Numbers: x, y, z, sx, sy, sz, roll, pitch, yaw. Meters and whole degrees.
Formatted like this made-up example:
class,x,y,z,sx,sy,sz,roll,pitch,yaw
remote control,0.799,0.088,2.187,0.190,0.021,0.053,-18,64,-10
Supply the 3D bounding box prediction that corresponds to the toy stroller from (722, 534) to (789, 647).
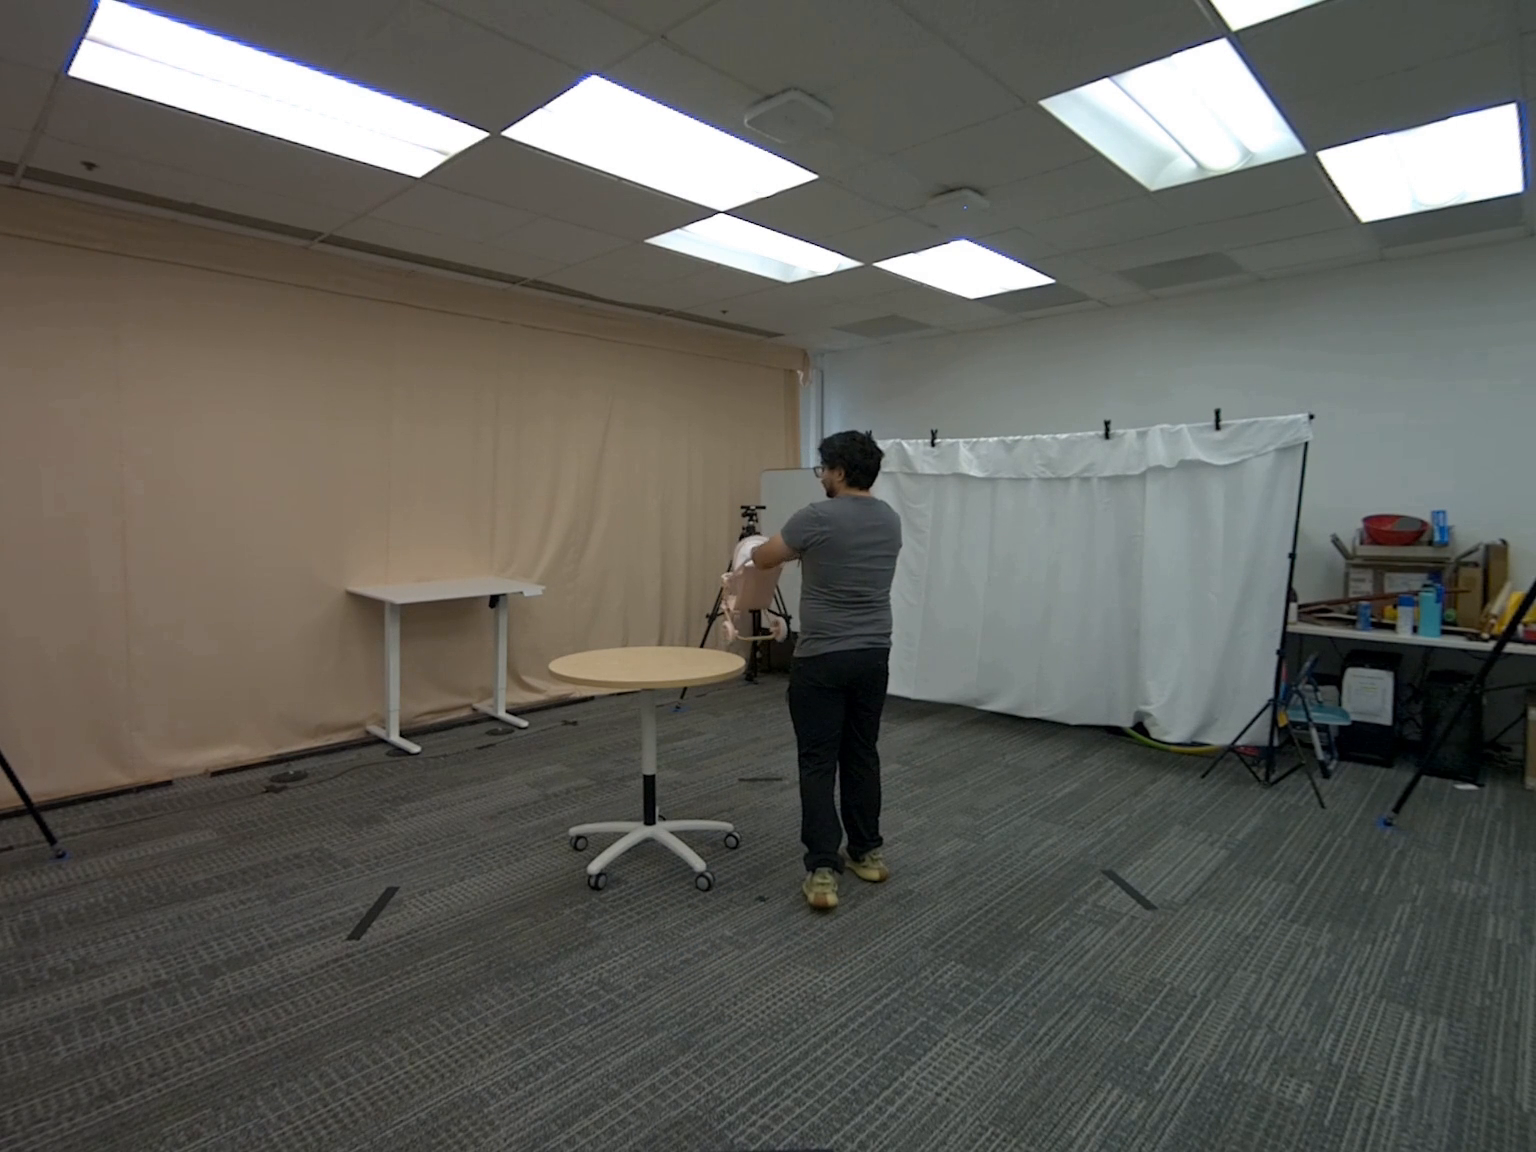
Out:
class,x,y,z,sx,sy,sz,roll,pitch,yaw
toy stroller,-0.069,0.062,3.715,0.276,0.529,0.351,0,29,-19
